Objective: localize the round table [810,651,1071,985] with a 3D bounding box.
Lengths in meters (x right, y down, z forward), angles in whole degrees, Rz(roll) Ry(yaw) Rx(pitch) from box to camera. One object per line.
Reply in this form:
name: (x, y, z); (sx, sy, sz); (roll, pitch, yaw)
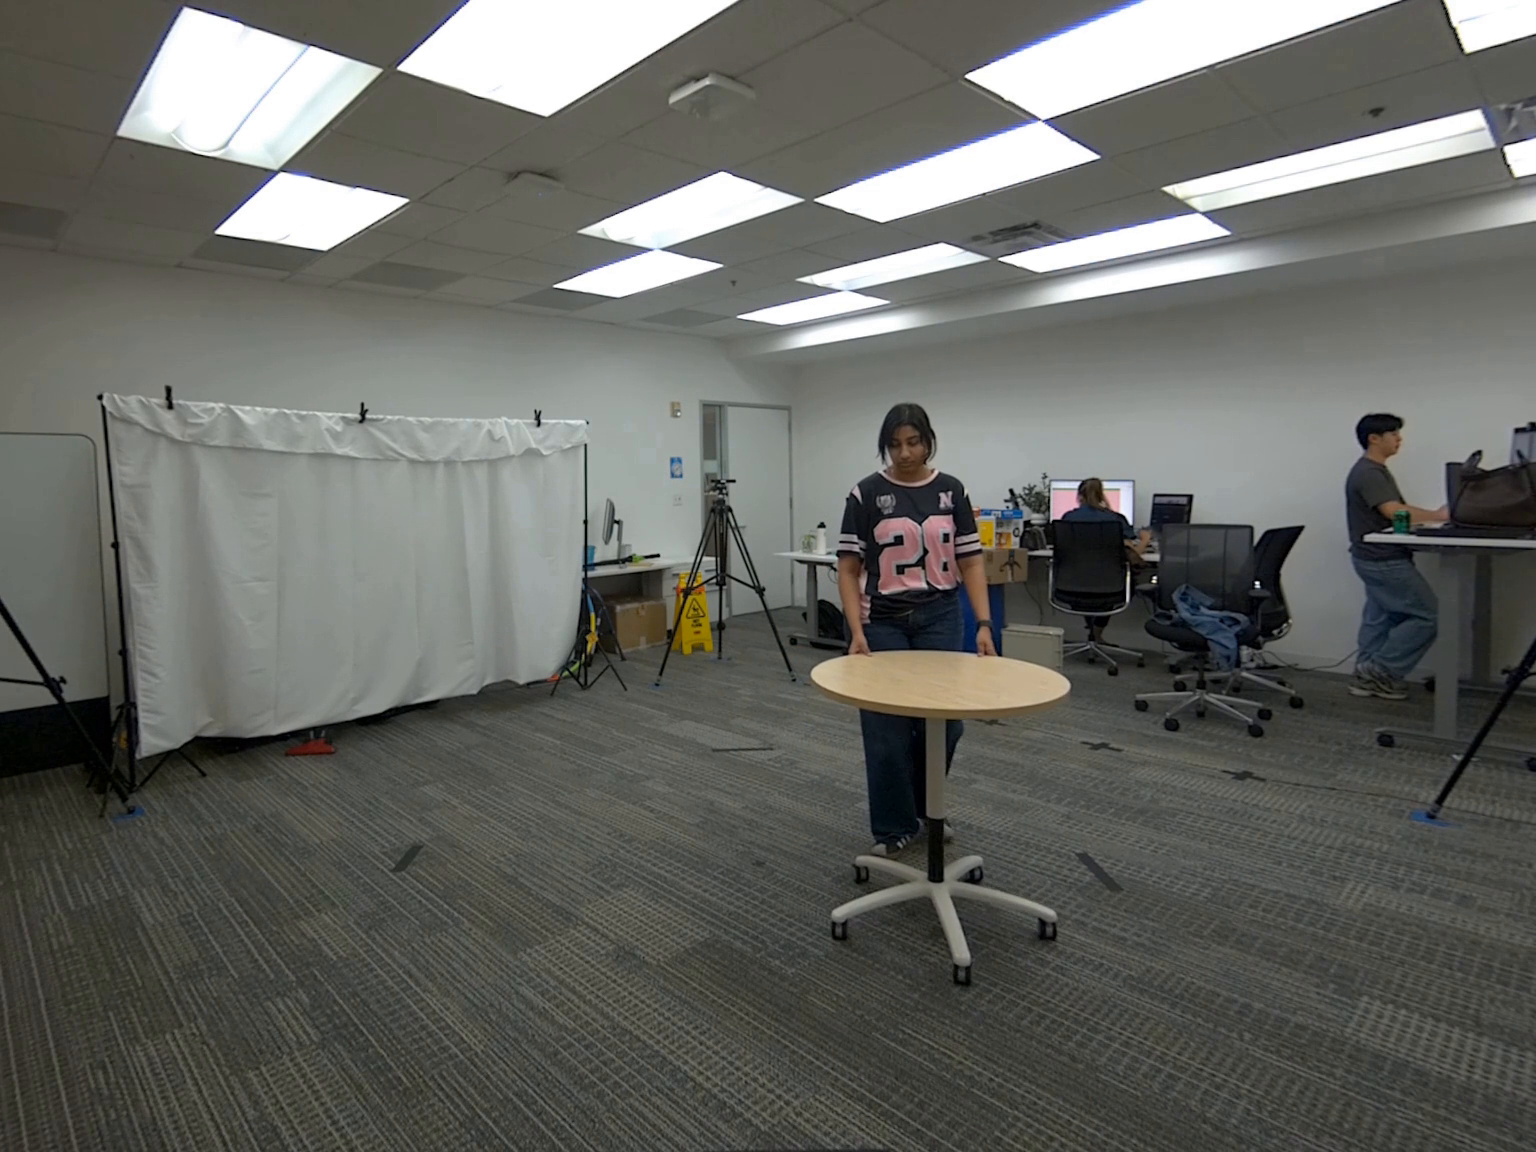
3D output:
round table: (0.518, 0.703, 2.646); (0.763, 0.791, 0.768); (-1, 5, -2)
